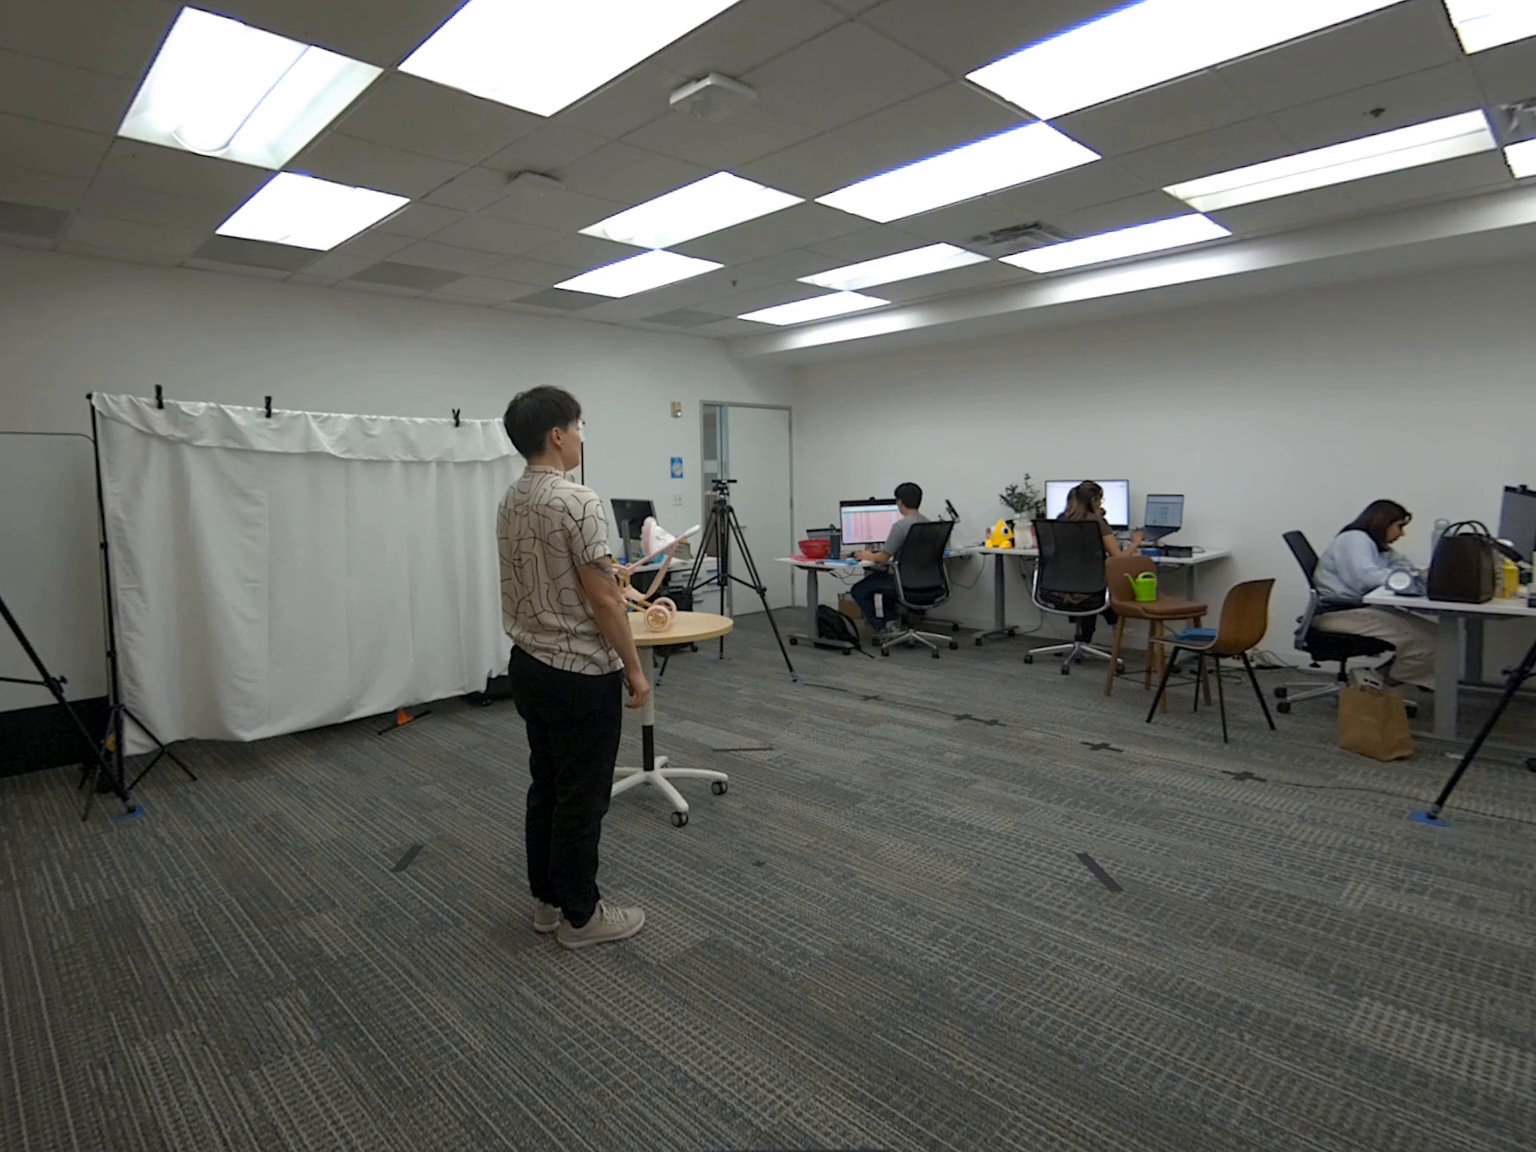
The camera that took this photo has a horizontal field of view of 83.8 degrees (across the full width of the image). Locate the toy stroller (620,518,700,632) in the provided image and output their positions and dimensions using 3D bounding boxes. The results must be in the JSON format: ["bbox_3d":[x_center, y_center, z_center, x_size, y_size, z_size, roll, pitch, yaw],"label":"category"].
[{"bbox_3d":[-0.518,-0.005,3.594,0.344,0.533,0.280,16,5,5],"label":"toy stroller"}]
